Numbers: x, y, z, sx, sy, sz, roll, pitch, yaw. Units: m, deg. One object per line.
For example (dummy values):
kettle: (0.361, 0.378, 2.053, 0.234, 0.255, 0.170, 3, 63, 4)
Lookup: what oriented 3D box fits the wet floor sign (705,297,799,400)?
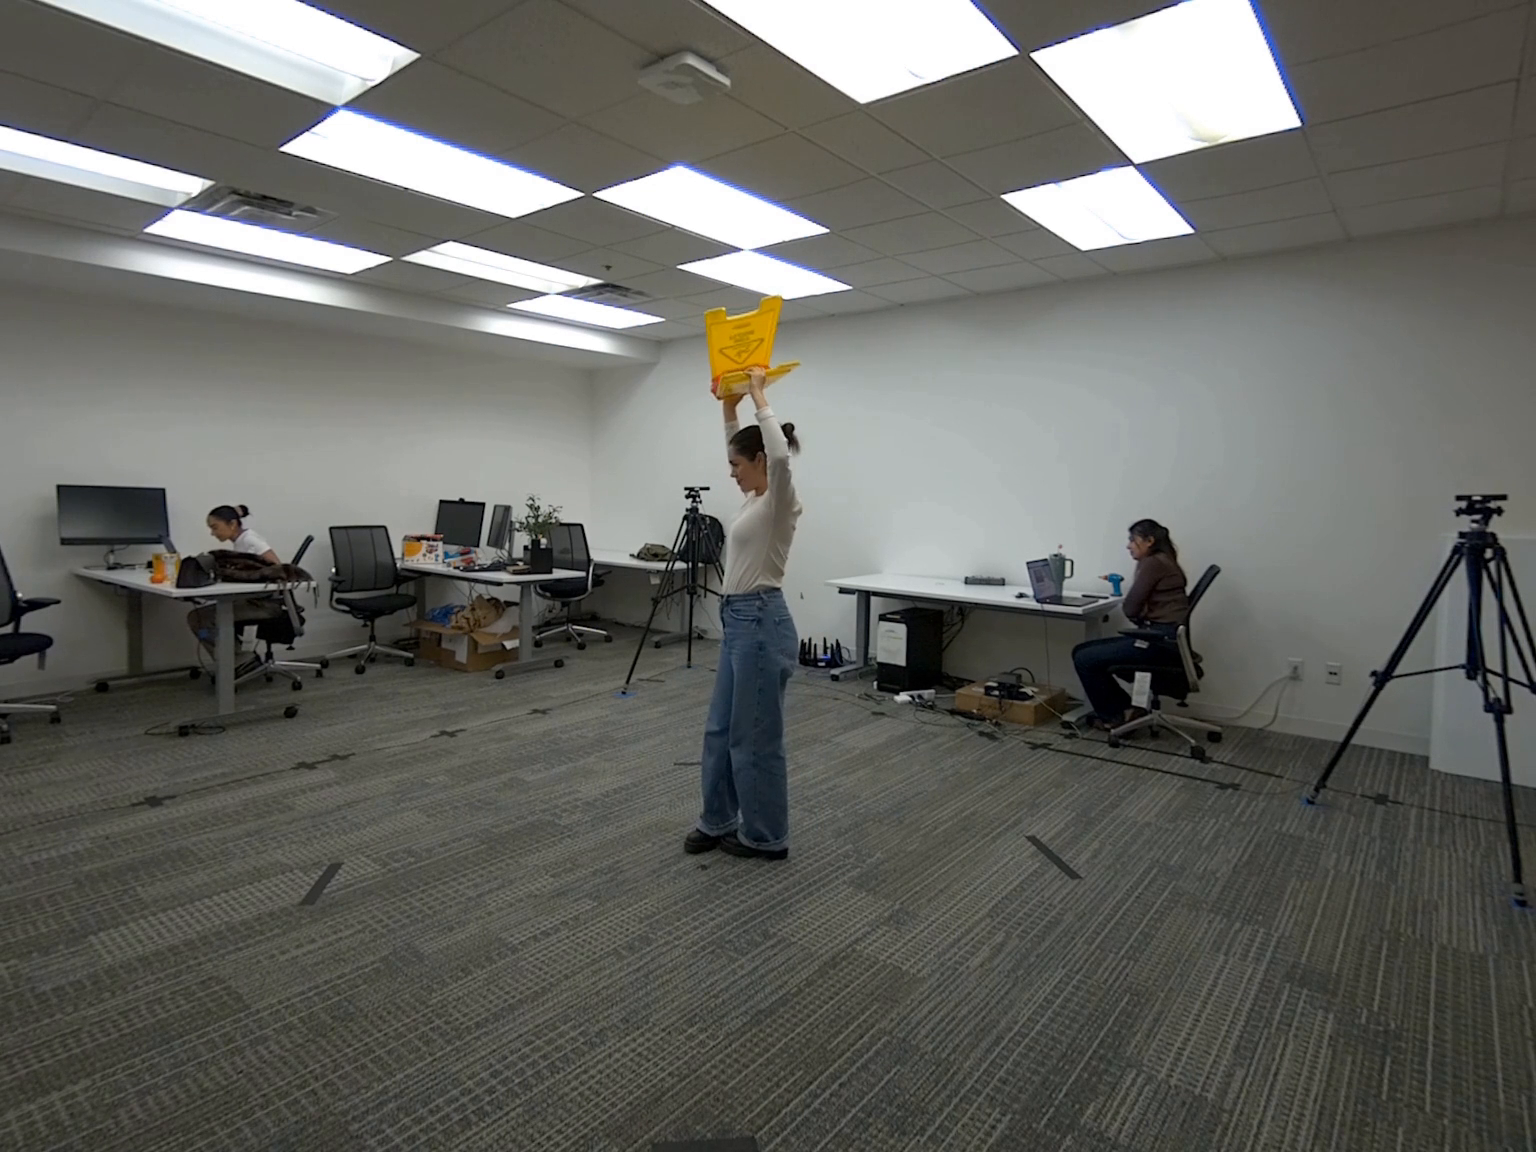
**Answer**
wet floor sign: (-0.091, -0.797, 3.224, 0.280, 0.291, 0.647, -14, -3, -8)
